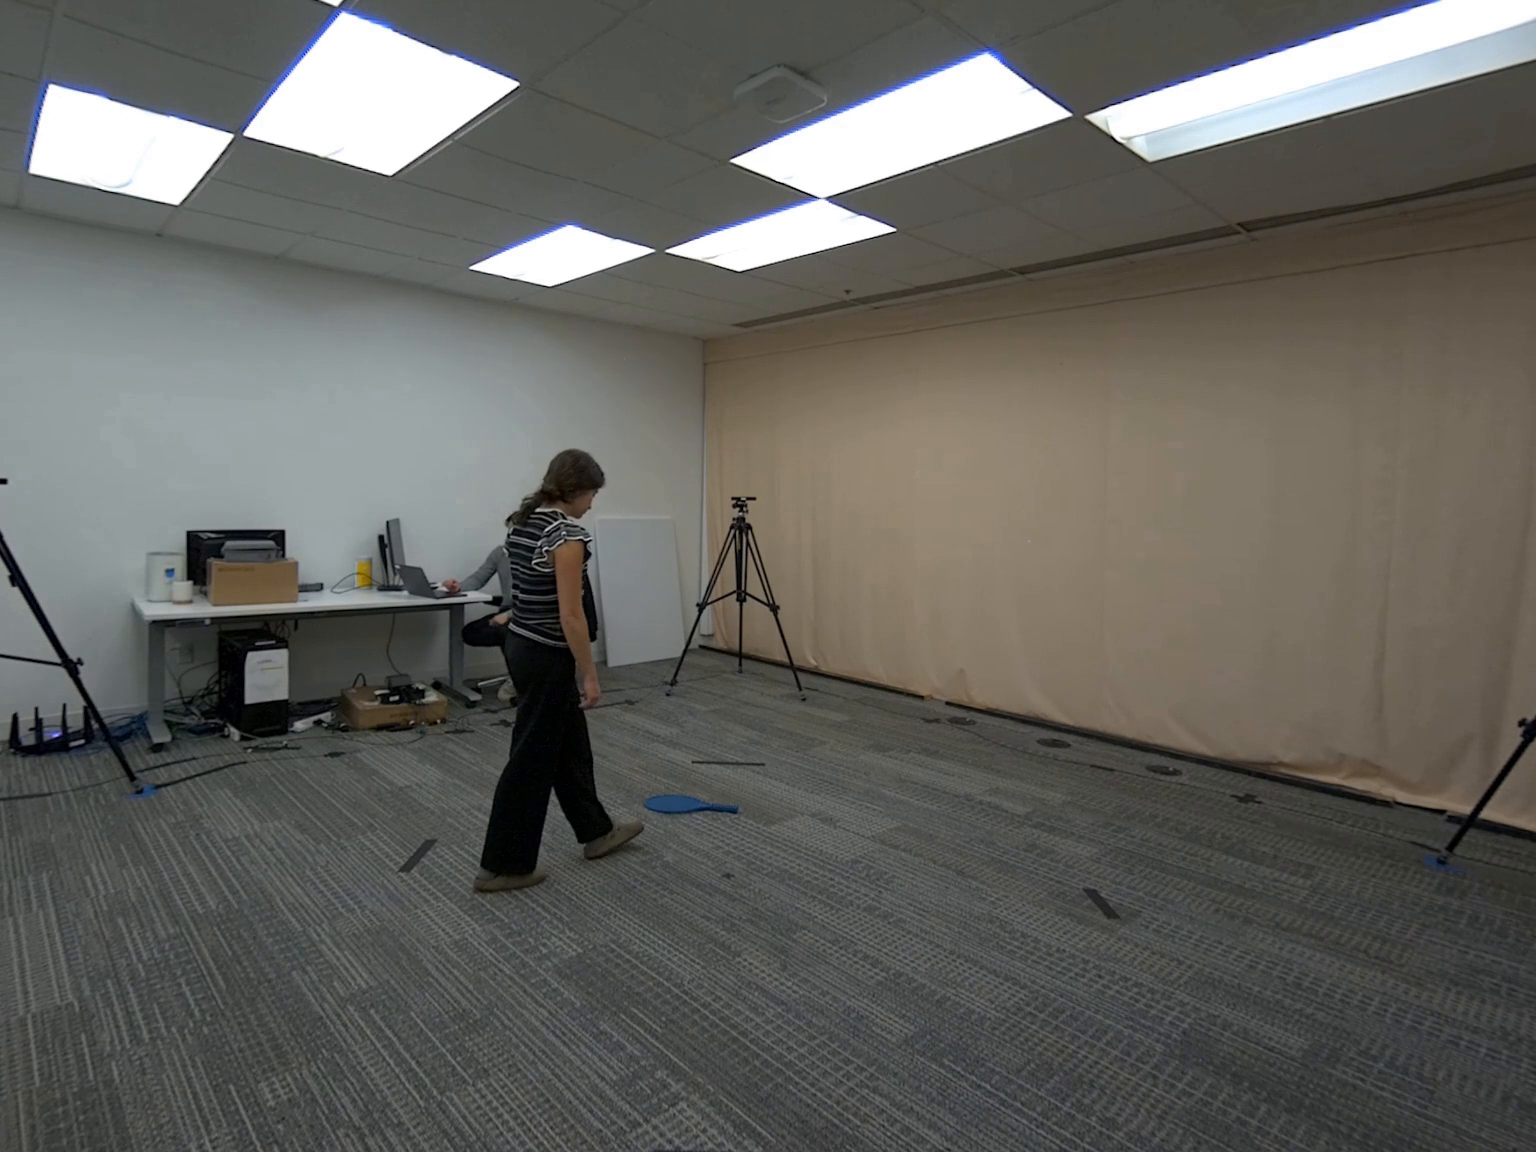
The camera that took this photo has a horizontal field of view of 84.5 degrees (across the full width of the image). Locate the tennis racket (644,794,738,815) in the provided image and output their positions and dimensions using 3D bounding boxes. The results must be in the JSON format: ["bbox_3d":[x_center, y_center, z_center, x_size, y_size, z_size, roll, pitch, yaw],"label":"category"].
[{"bbox_3d":[-0.354,1.030,3.784,0.437,0.031,0.212,1,5,11],"label":"tennis racket"}]
